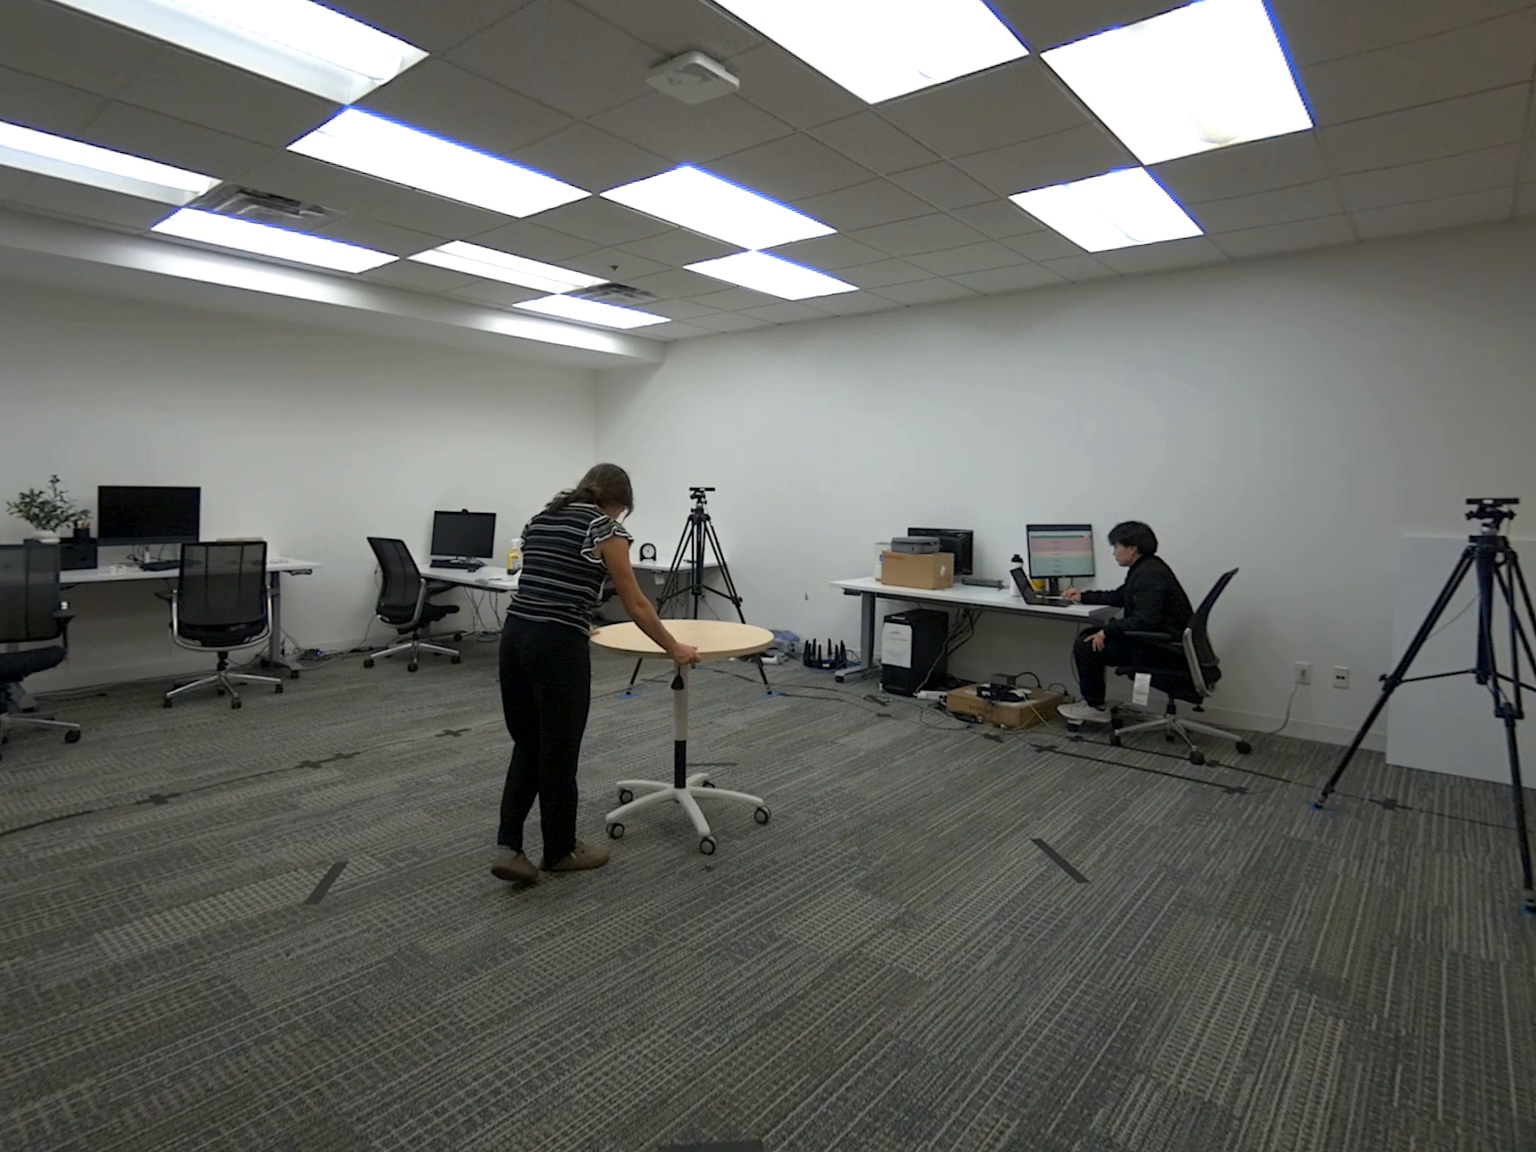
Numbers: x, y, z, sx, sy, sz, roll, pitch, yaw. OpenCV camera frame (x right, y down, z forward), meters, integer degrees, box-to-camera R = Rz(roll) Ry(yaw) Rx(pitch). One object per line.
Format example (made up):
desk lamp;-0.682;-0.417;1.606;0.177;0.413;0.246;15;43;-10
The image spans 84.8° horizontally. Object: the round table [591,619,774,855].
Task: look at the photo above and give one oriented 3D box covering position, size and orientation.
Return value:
round table;-0.364;0.632;3.545;0.763;0.791;0.768;1;4;-2
